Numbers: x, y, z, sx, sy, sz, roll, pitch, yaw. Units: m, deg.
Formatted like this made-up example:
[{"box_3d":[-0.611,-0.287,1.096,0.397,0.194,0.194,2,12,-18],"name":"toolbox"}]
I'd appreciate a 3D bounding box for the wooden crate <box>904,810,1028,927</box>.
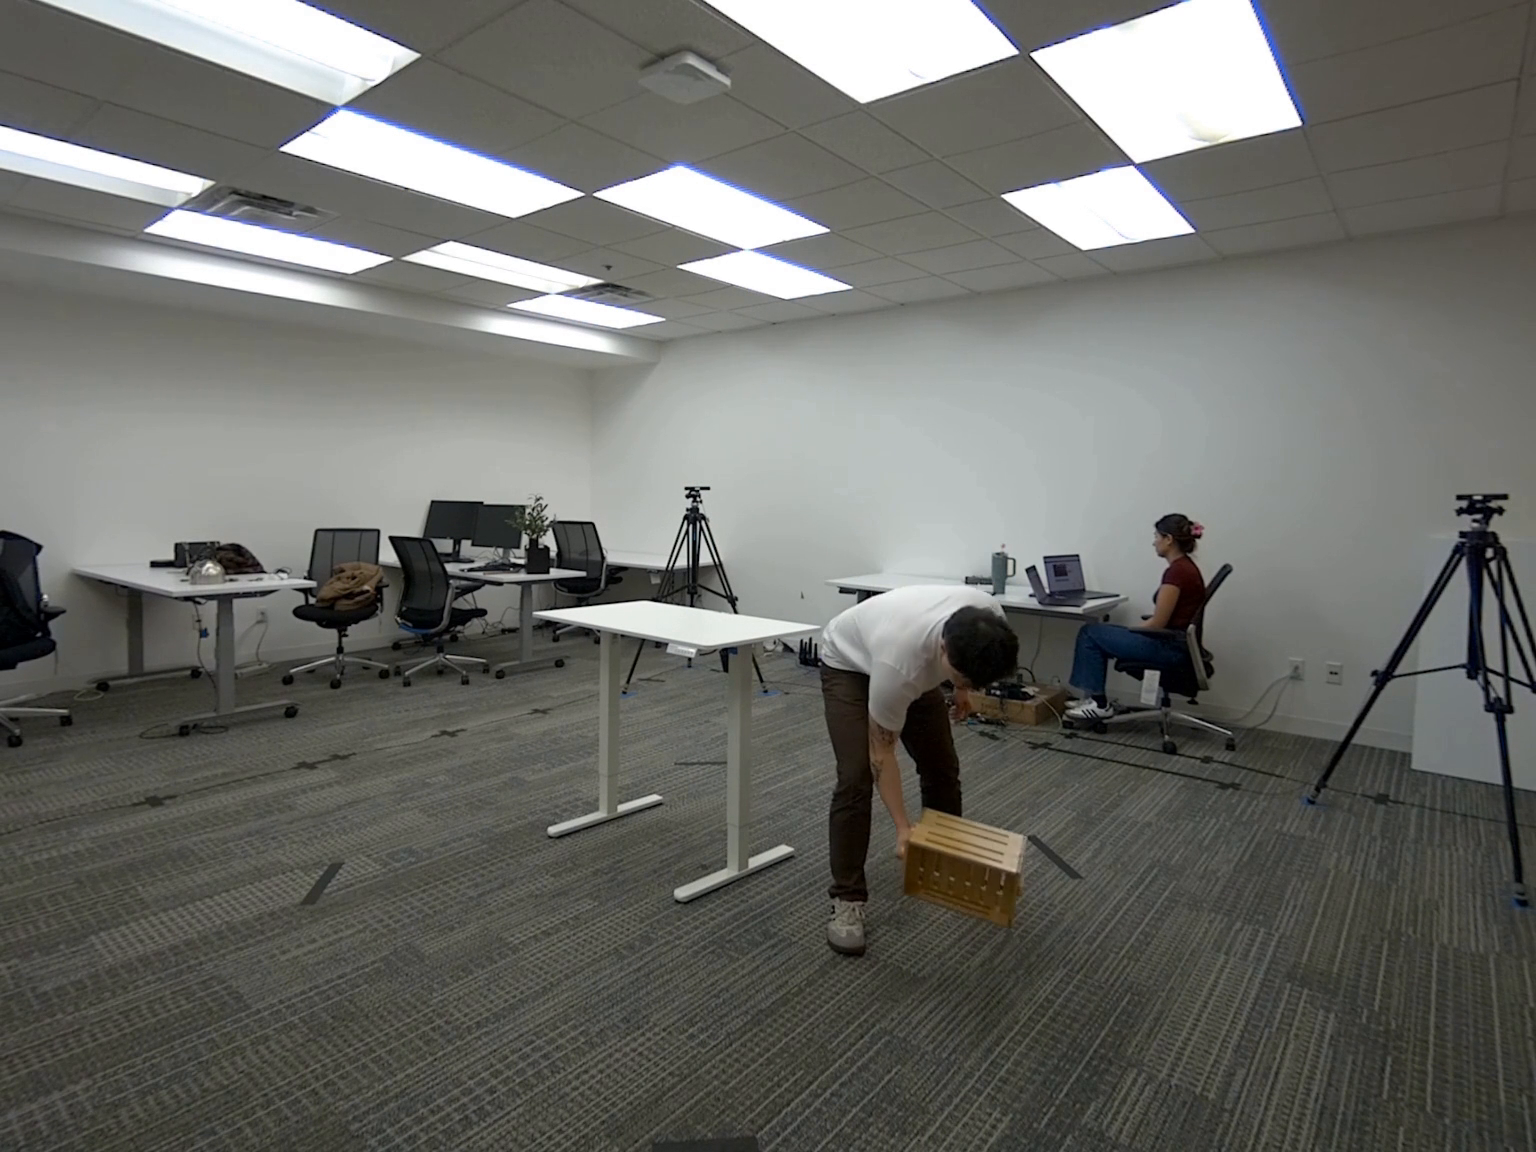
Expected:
[{"box_3d":[0.549,0.849,2.435,0.332,0.298,0.271,8,18,19],"name":"wooden crate"}]
